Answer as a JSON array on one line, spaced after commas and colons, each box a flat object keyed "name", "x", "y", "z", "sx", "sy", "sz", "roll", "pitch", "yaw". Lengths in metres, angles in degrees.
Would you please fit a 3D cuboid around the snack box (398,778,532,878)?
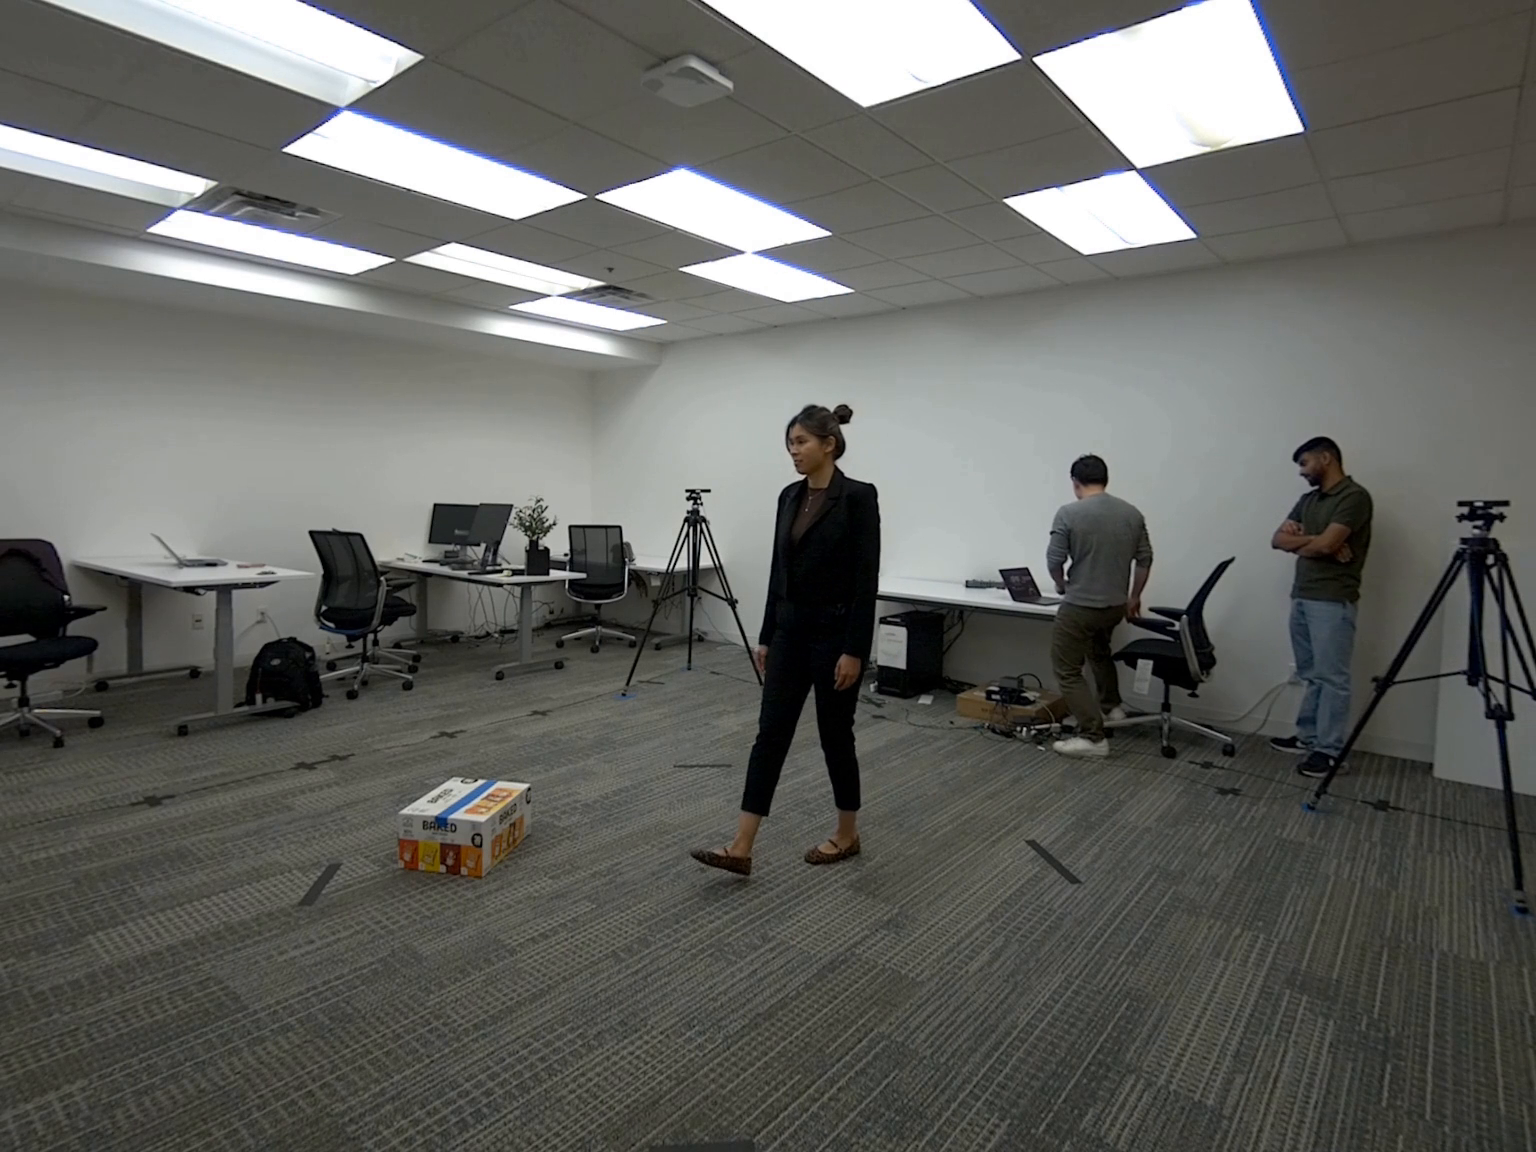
[{"name": "snack box", "x": -1.162, "y": 0.945, "z": 3.240, "sx": 0.345, "sy": 0.205, "sz": 0.402, "roll": 2, "pitch": 5, "yaw": 10}]
